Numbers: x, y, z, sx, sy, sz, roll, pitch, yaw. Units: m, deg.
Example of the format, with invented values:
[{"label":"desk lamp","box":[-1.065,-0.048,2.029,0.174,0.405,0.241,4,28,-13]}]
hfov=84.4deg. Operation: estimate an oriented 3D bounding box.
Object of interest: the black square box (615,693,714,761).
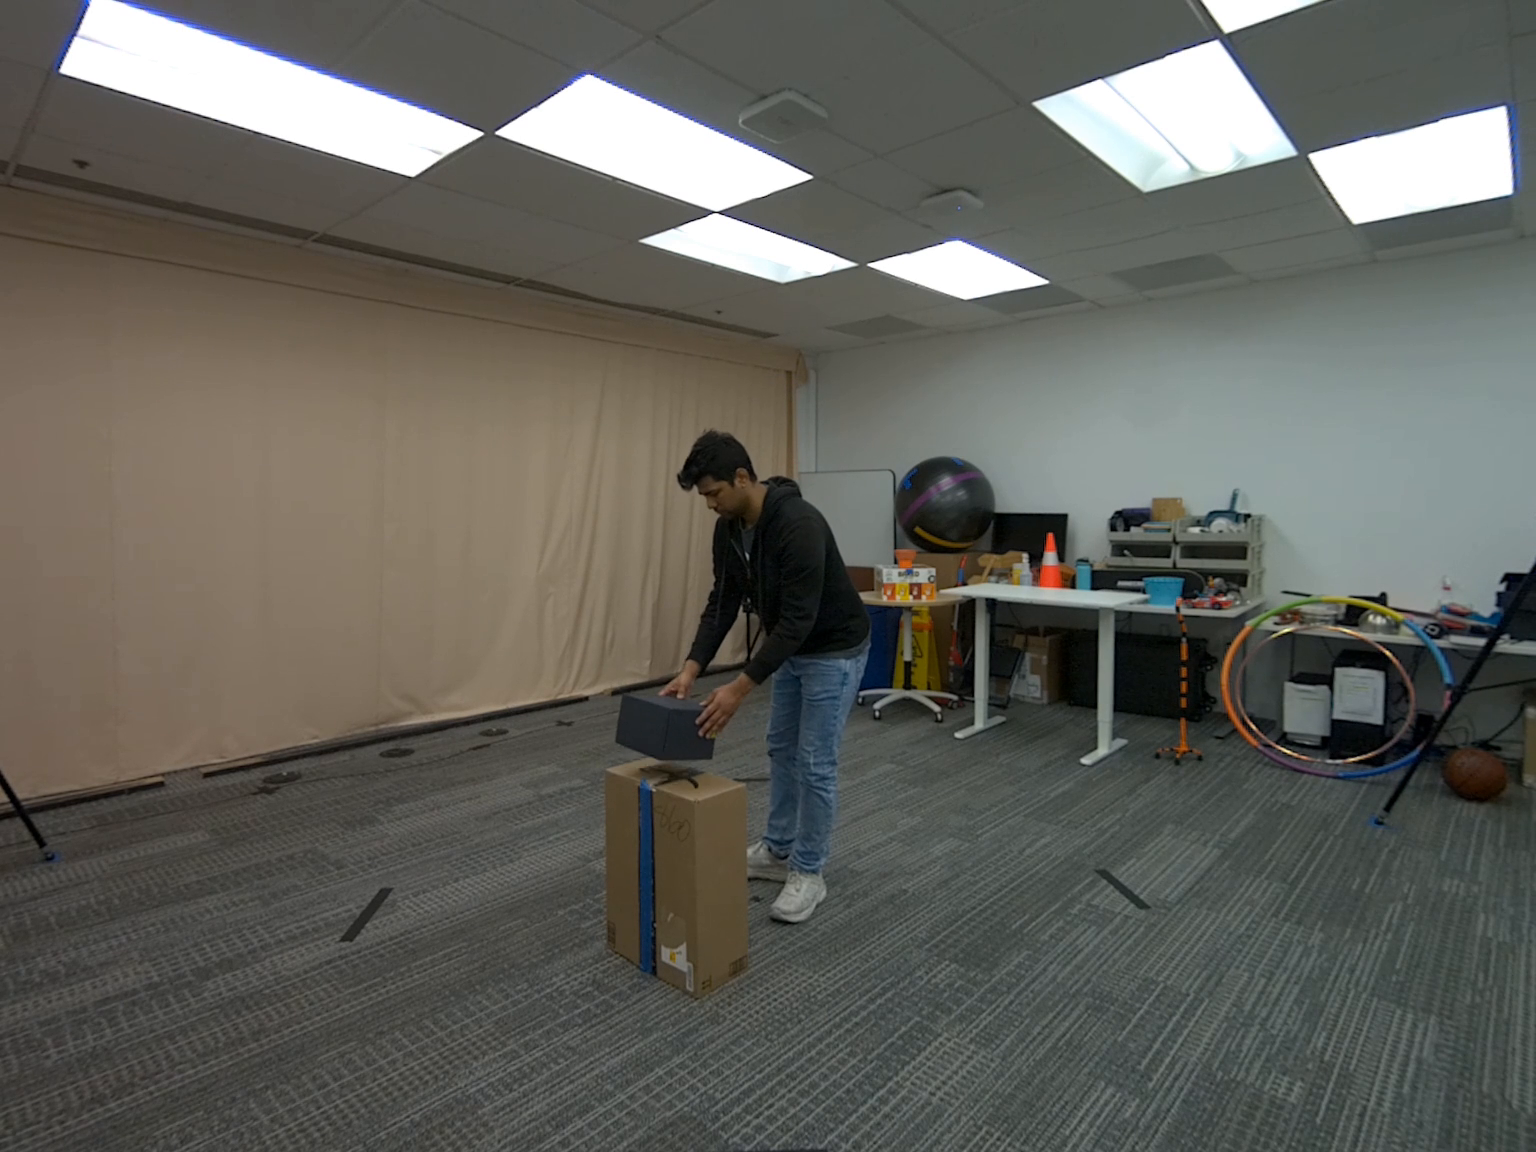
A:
[{"label":"black square box","box":[-0.312,0.474,2.620,0.236,0.156,0.209,7,-3,44]}]
